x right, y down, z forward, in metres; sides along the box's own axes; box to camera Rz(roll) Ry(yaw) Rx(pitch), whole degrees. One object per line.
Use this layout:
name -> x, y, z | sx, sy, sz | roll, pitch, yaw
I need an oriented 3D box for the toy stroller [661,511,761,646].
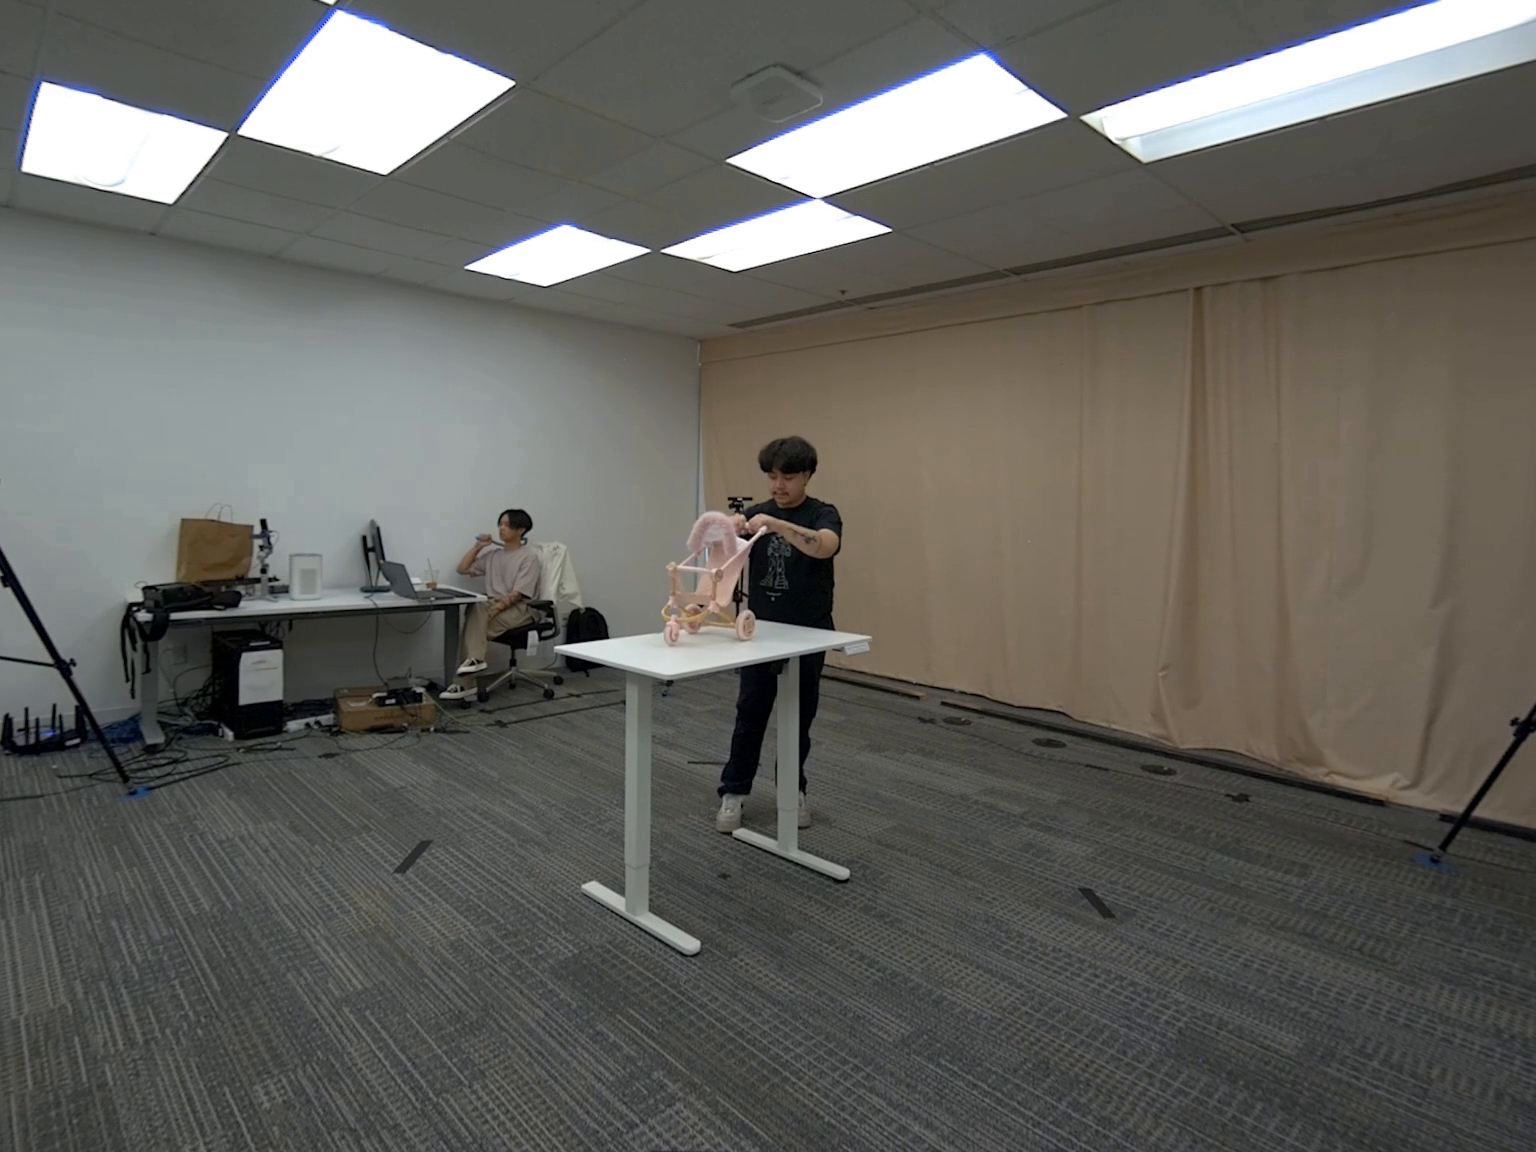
toy stroller -> -0.220, 0.007, 3.036 | 0.288, 0.538, 0.331 | 3, -12, 41
